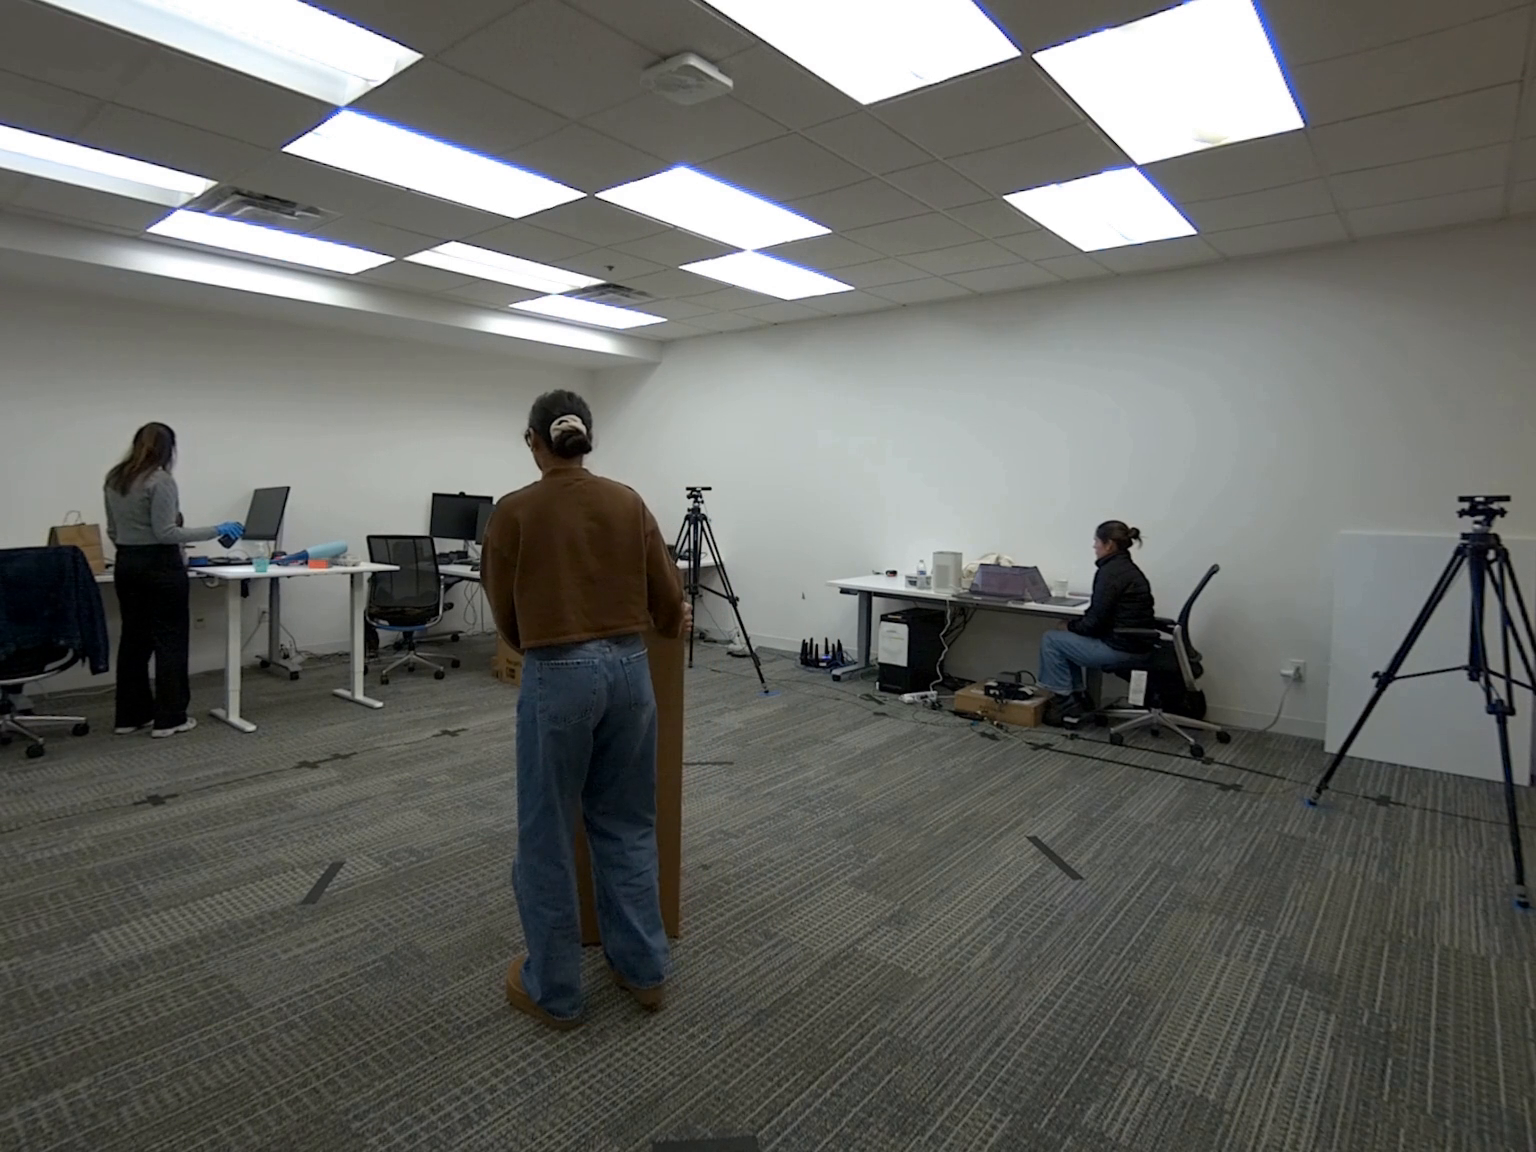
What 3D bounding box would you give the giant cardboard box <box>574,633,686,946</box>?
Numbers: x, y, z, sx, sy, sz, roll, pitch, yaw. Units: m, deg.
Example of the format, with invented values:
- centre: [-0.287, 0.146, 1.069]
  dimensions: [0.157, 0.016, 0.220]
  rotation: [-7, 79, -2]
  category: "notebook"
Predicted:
- centre: [-0.538, 0.575, 2.846]
  dimensions: [0.421, 1.024, 0.586]
  rotation: [1, 2, -13]
  category: "giant cardboard box"
